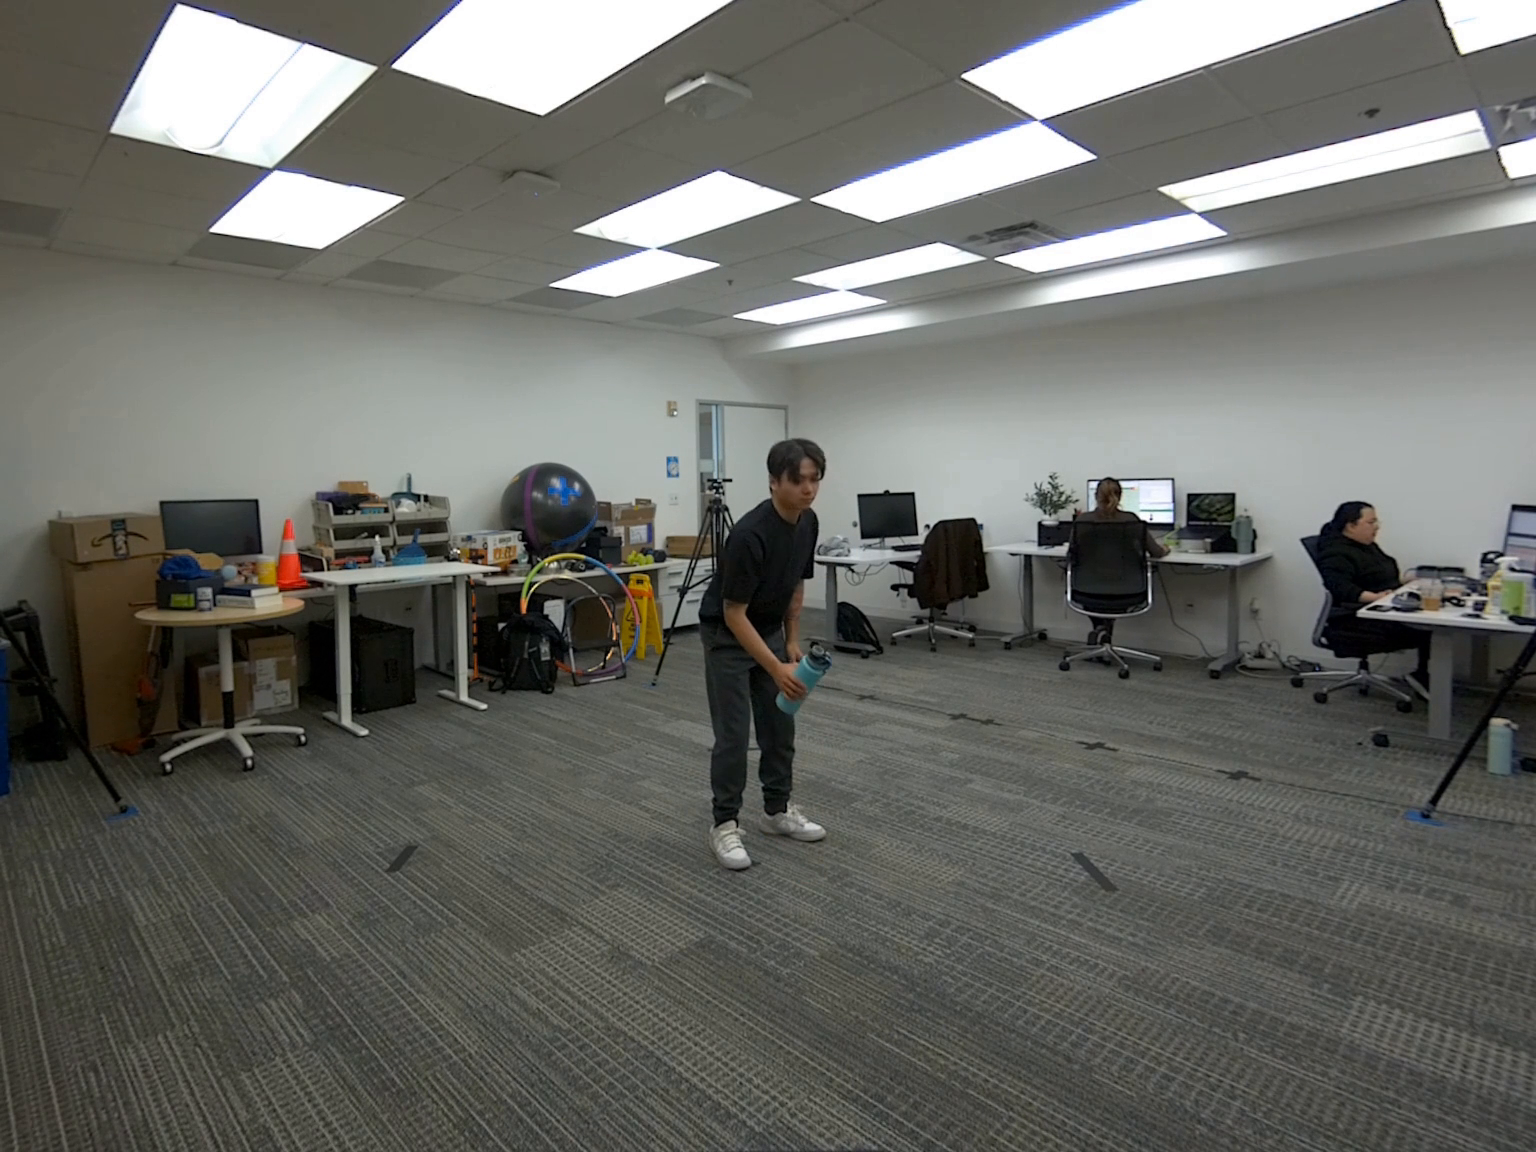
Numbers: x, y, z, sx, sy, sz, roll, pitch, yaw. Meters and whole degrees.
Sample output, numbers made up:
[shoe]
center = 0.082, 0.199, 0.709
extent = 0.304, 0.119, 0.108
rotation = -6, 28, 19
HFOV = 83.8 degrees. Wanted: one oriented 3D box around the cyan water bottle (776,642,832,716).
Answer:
[cyan water bottle]
center = 0.129, 0.362, 2.964
extent = 0.091, 0.280, 0.095
rotation = 19, 34, -15
